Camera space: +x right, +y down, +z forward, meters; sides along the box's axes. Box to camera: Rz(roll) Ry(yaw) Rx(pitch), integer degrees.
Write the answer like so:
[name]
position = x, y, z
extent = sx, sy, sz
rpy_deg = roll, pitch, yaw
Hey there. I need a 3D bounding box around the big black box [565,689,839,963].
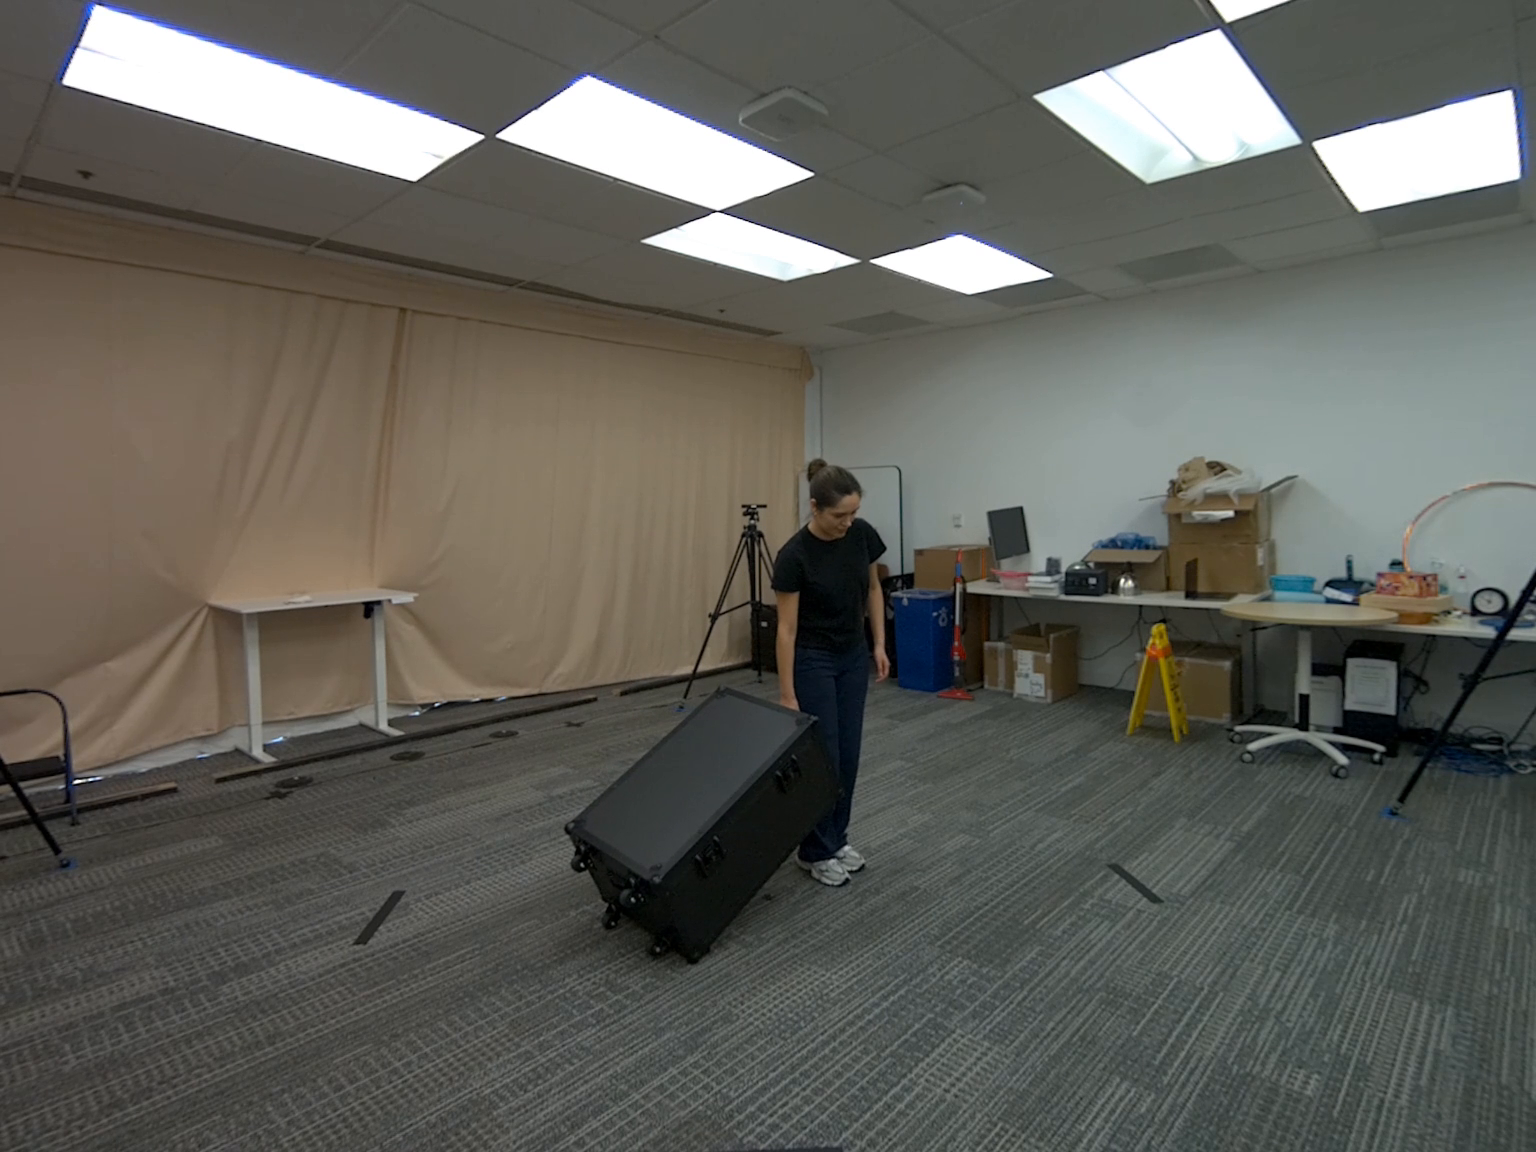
[big black box]
position = -0.166, 0.792, 2.884
extent = 0.539, 0.387, 0.851
rpy_deg = 9, 39, 45
